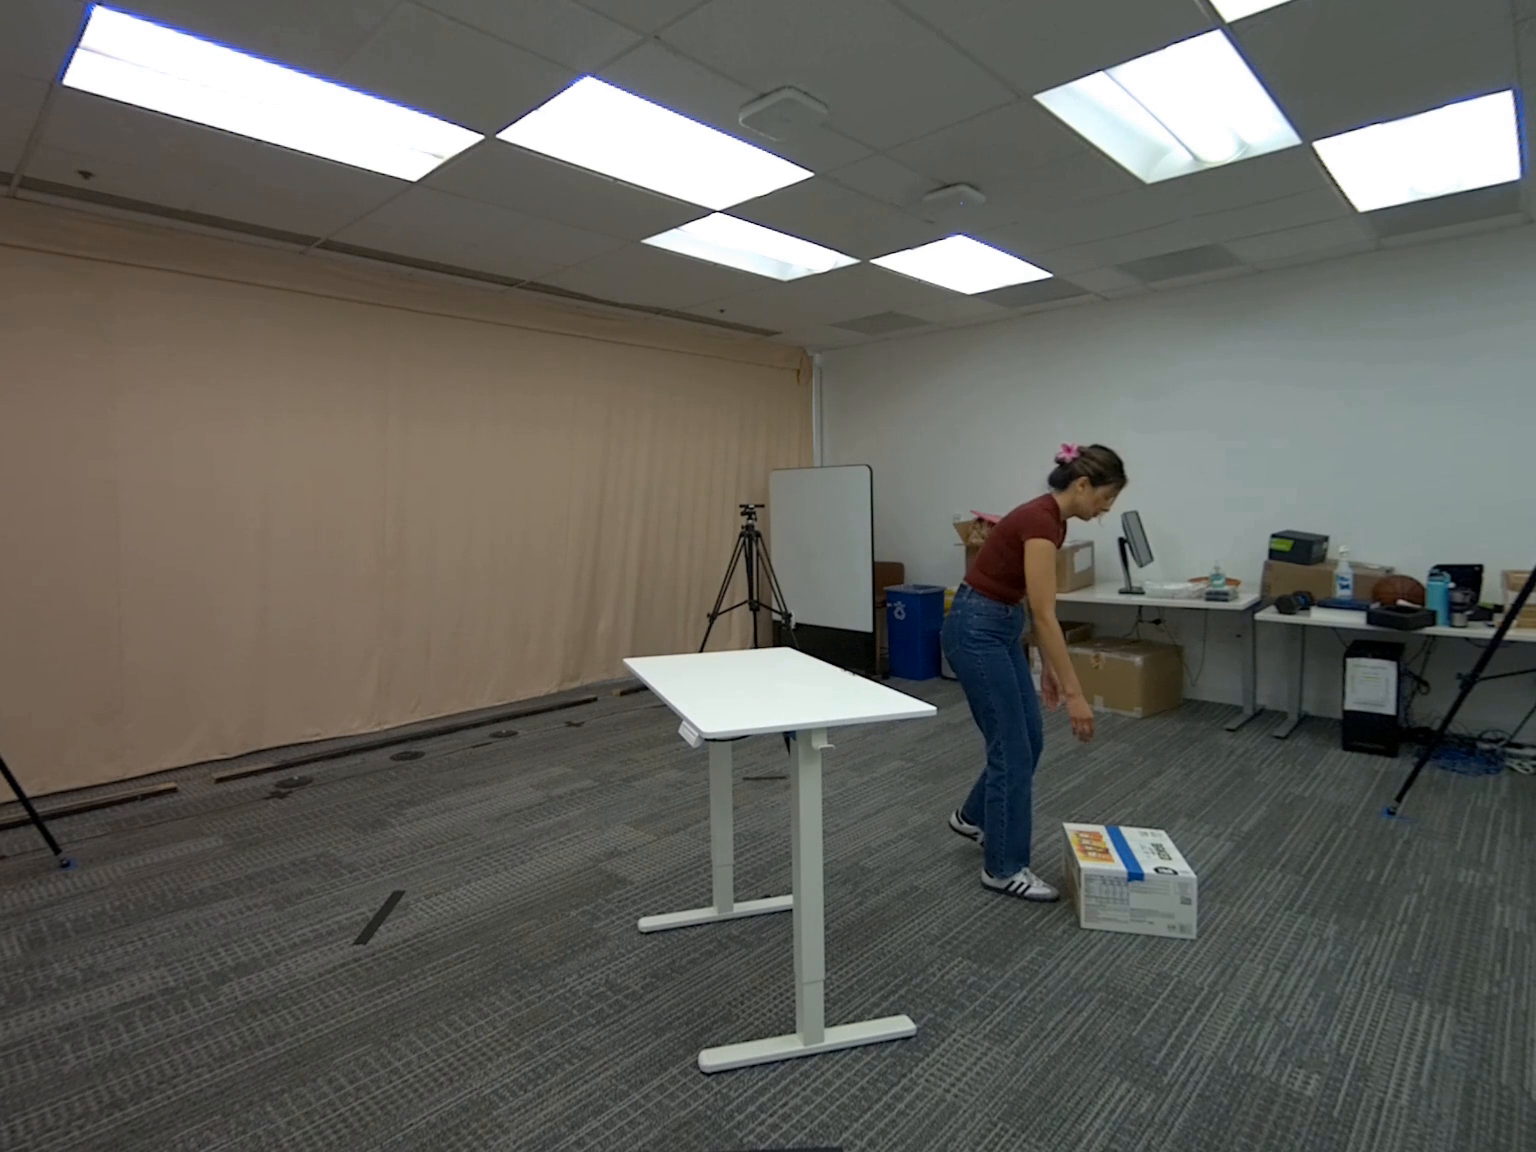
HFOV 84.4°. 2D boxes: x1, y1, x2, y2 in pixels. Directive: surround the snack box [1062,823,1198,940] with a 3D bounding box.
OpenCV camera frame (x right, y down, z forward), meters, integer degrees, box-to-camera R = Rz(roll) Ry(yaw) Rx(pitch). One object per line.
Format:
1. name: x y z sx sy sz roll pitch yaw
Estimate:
1. snack box: 1.231 1.032 2.868 0.345 0.205 0.400 0 4 13
